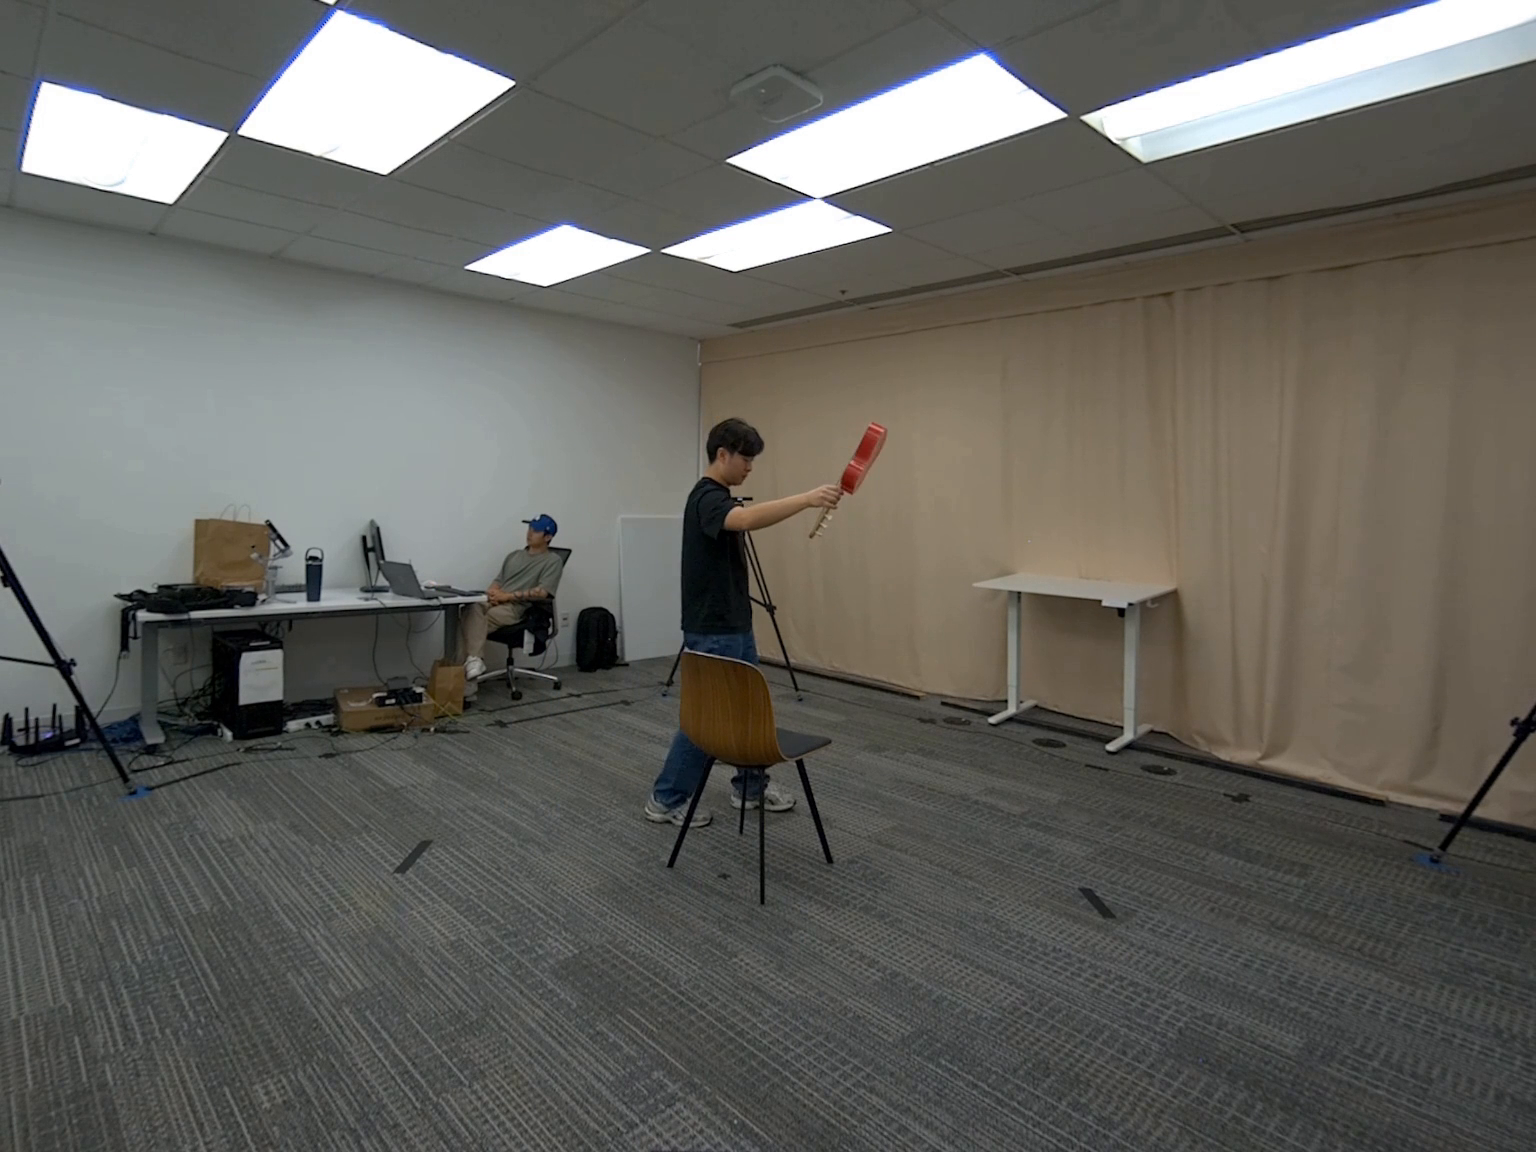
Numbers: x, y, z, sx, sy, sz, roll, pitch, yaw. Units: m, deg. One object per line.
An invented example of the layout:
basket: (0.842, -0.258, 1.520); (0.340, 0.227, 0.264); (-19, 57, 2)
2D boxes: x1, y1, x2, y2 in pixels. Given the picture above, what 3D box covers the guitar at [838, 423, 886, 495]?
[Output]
guitar: (0.305, -0.352, 3.226); (0.071, 0.497, 0.191); (27, 3, 9)
